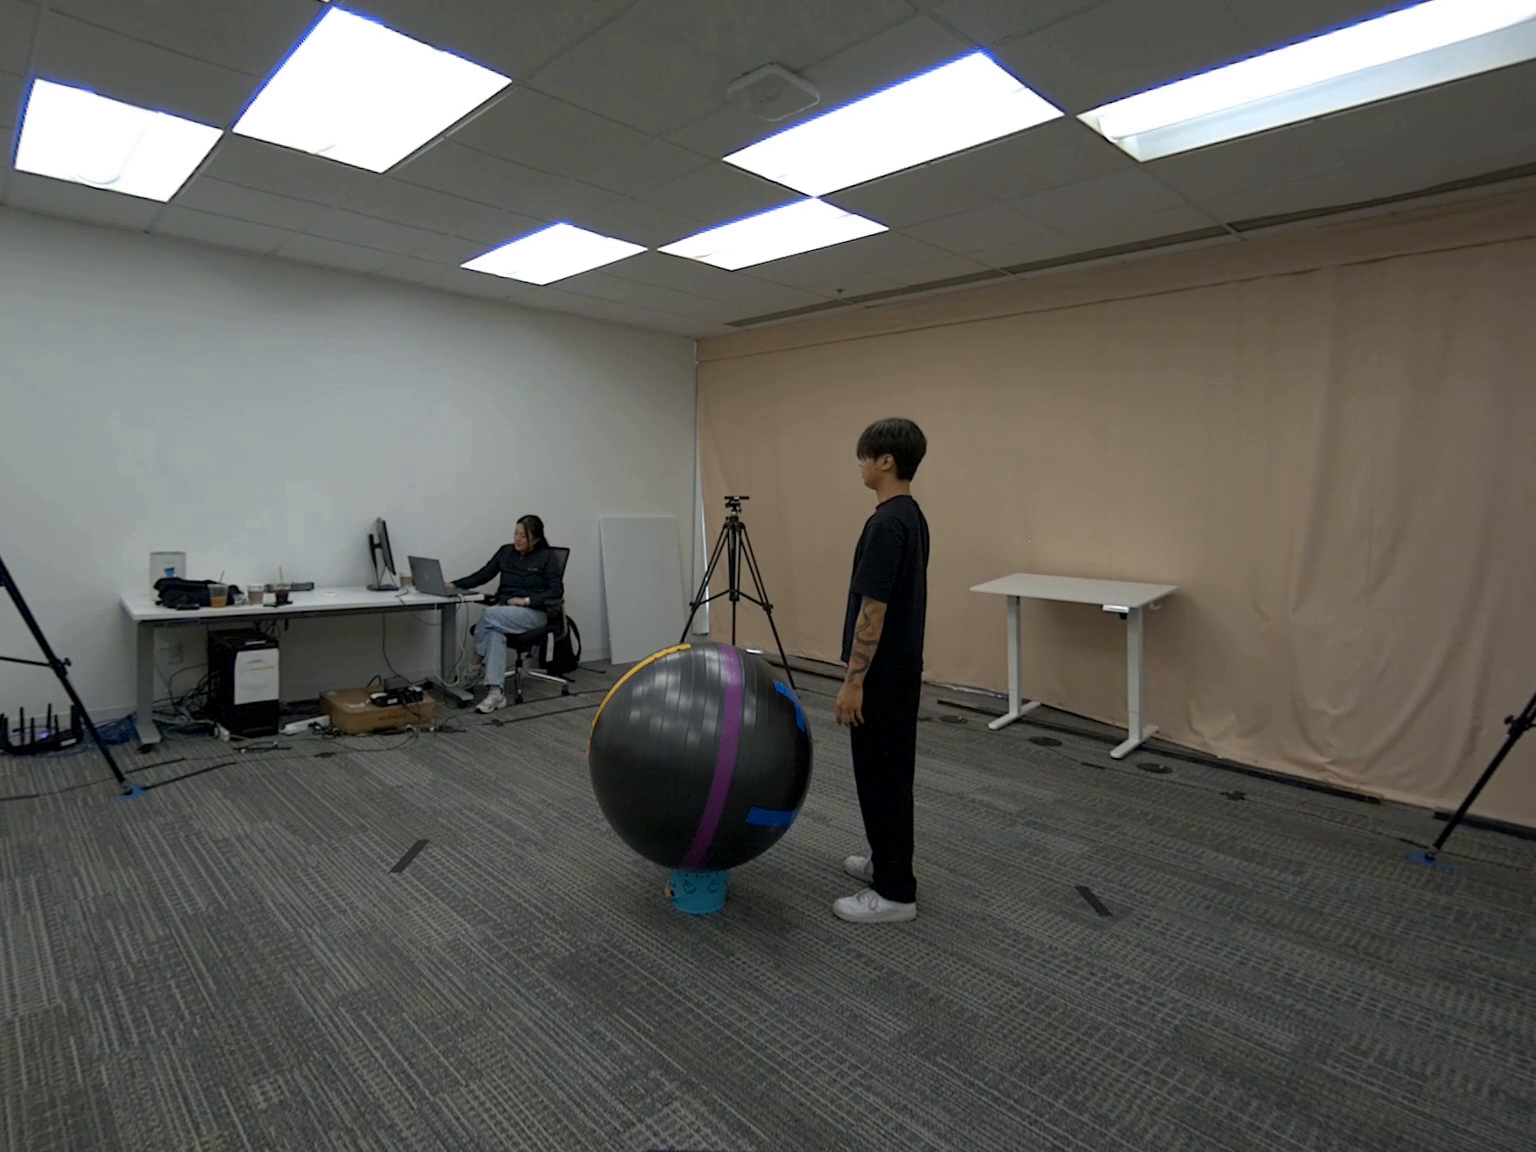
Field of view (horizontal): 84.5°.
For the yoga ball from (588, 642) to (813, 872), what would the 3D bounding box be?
[{"bbox_3d":[-0.238,0.610,2.871,0.757,0.756,0.761,1,4,-1],"label":"yoga ball"}]
